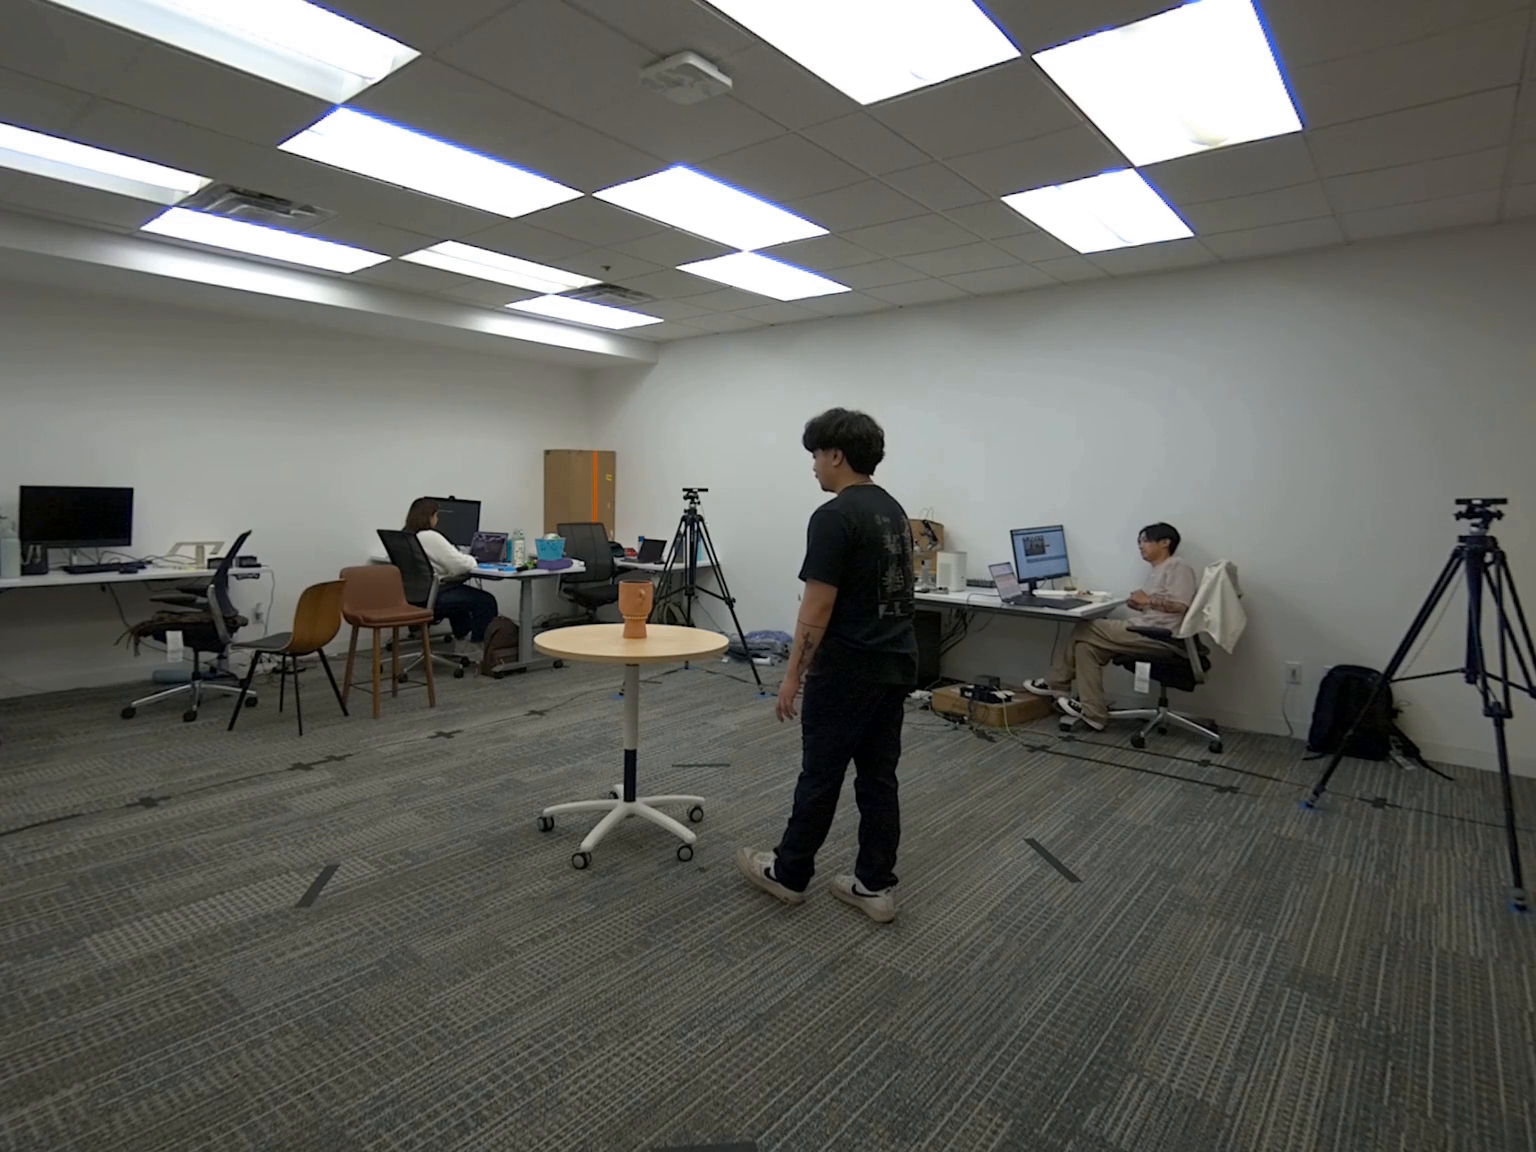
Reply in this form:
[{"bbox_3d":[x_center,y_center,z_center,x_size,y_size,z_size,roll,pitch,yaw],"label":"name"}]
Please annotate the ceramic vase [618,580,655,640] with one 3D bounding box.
[{"bbox_3d":[-0.553,0.133,3.415,0.136,0.219,0.157,2,2,12],"label":"ceramic vase"}]
